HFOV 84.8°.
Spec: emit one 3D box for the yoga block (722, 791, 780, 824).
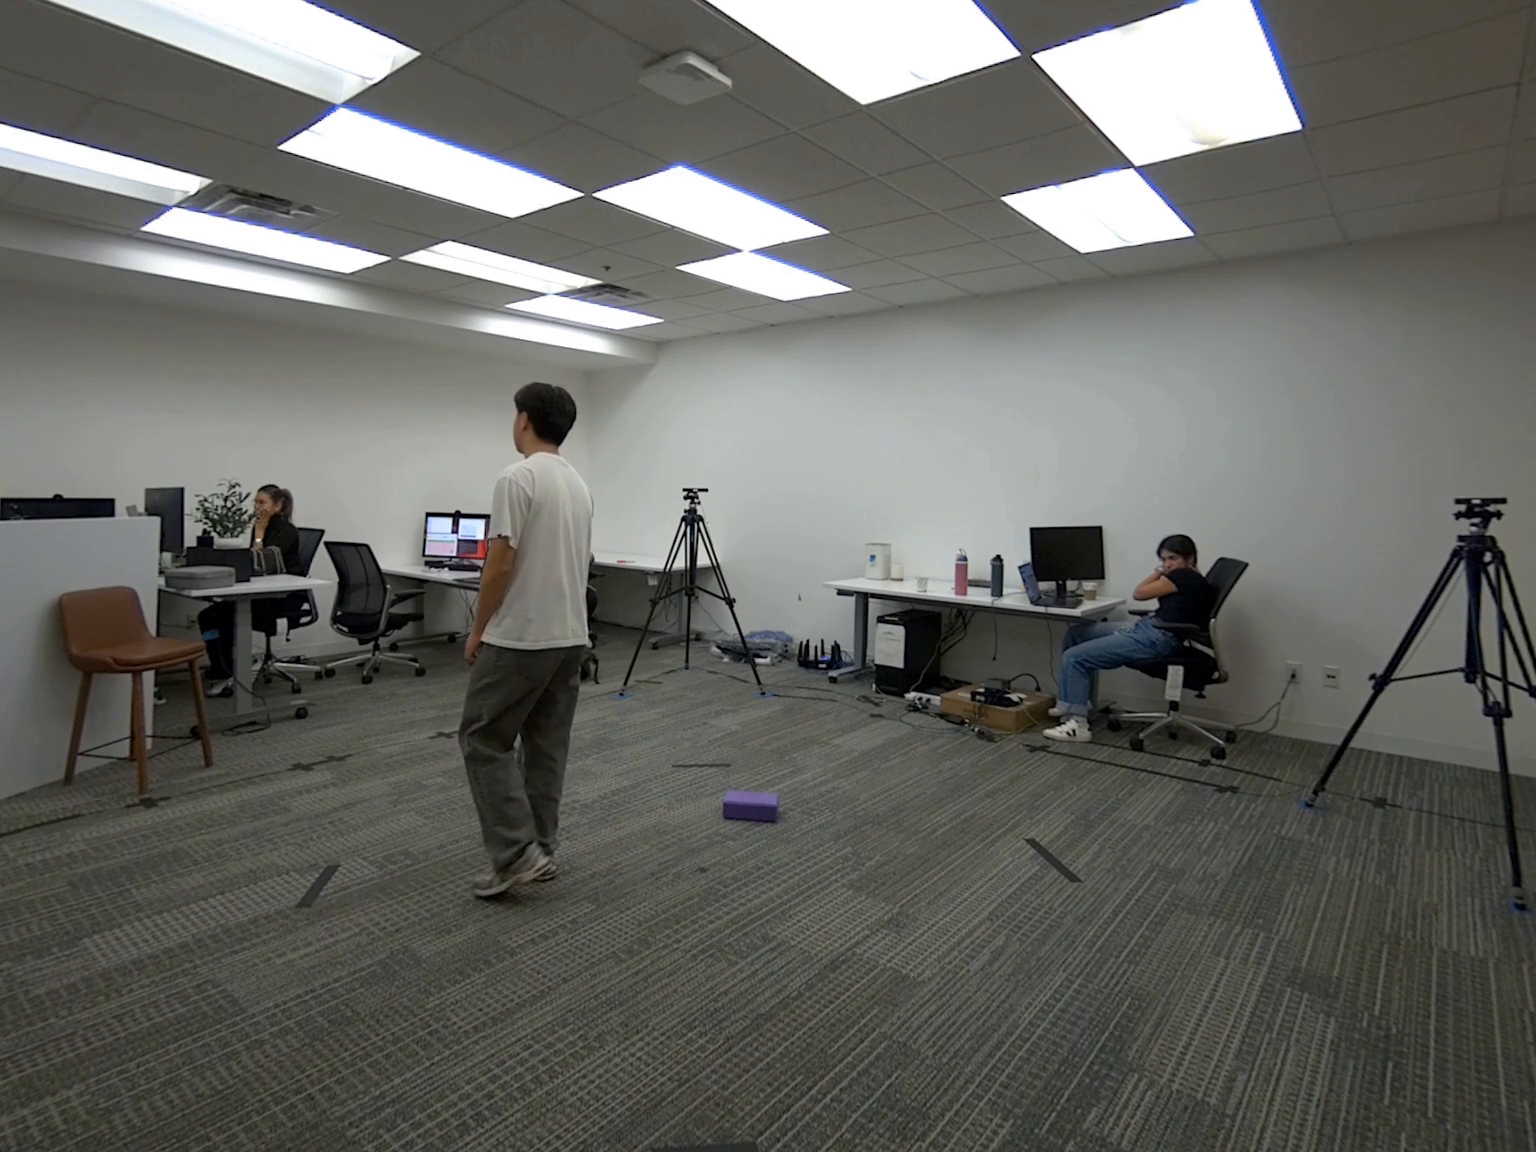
[{"bbox_3d":[-0.070,0.973,3.647,0.232,0.076,0.148,1,6,9],"label":"yoga block"}]
